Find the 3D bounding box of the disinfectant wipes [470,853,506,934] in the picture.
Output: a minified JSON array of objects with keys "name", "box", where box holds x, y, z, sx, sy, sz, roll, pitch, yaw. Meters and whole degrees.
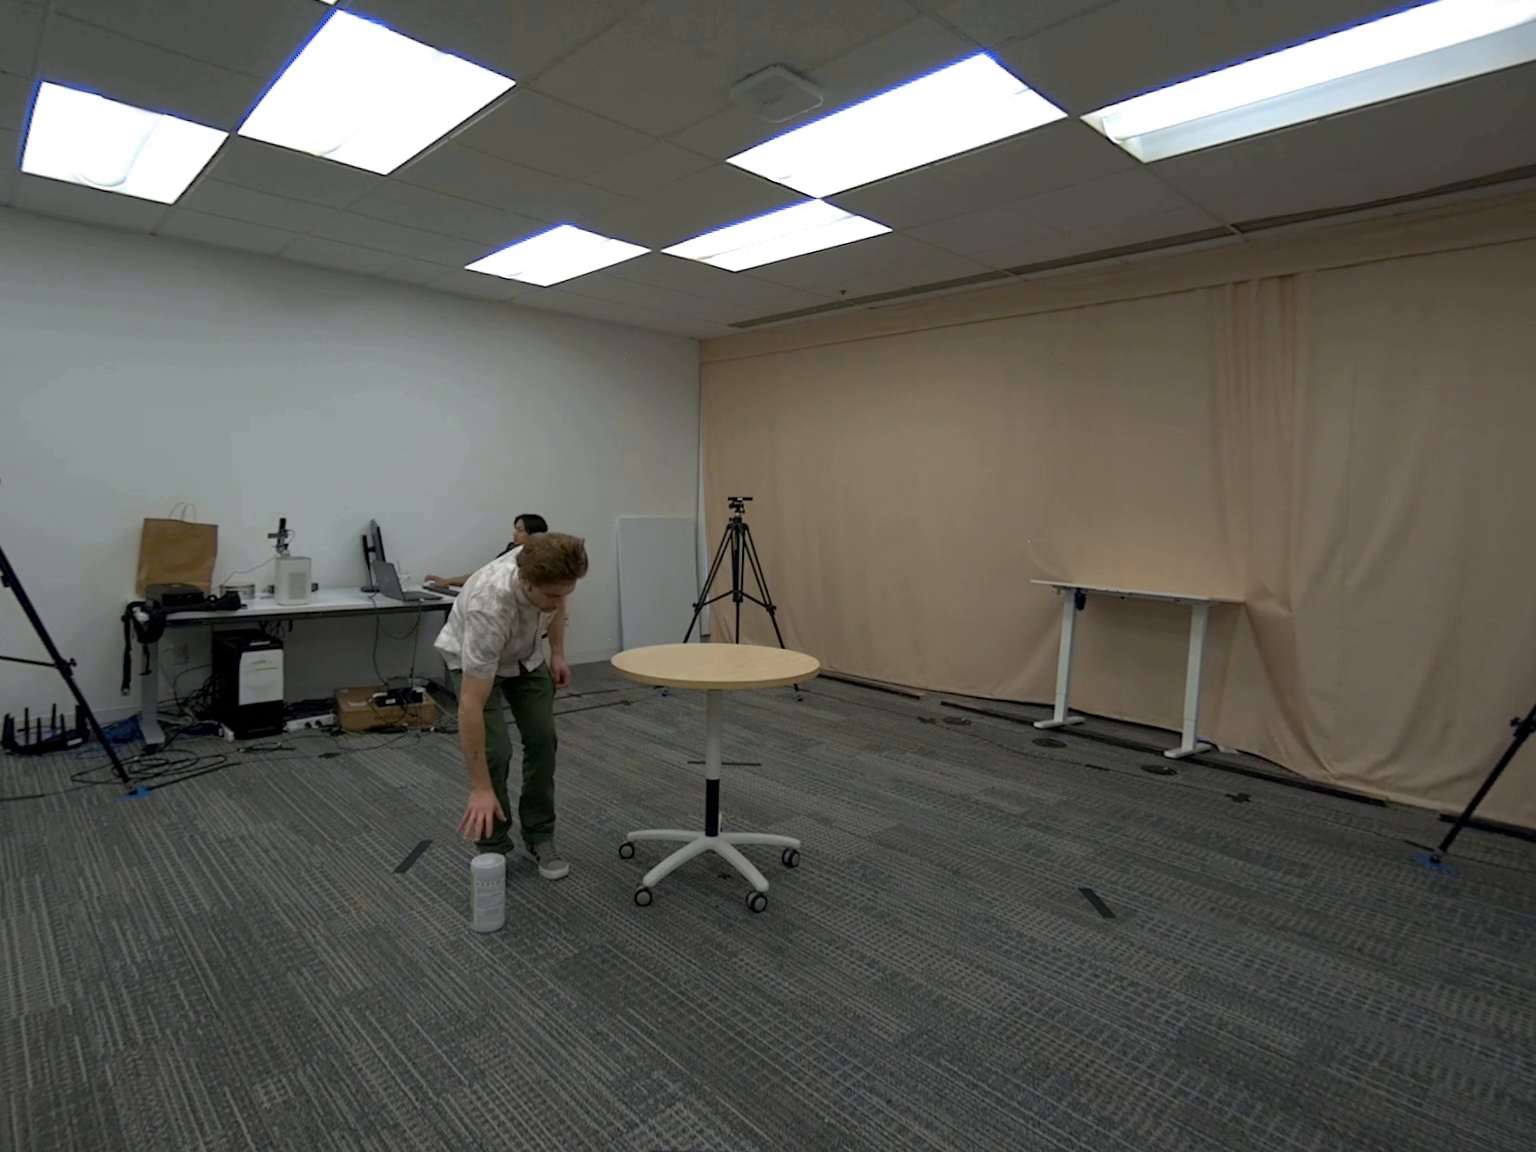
[{"name":"disinfectant wipes","box":[-0.910,1.019,2.709,0.118,0.217,0.118,2,4,-1]}]
